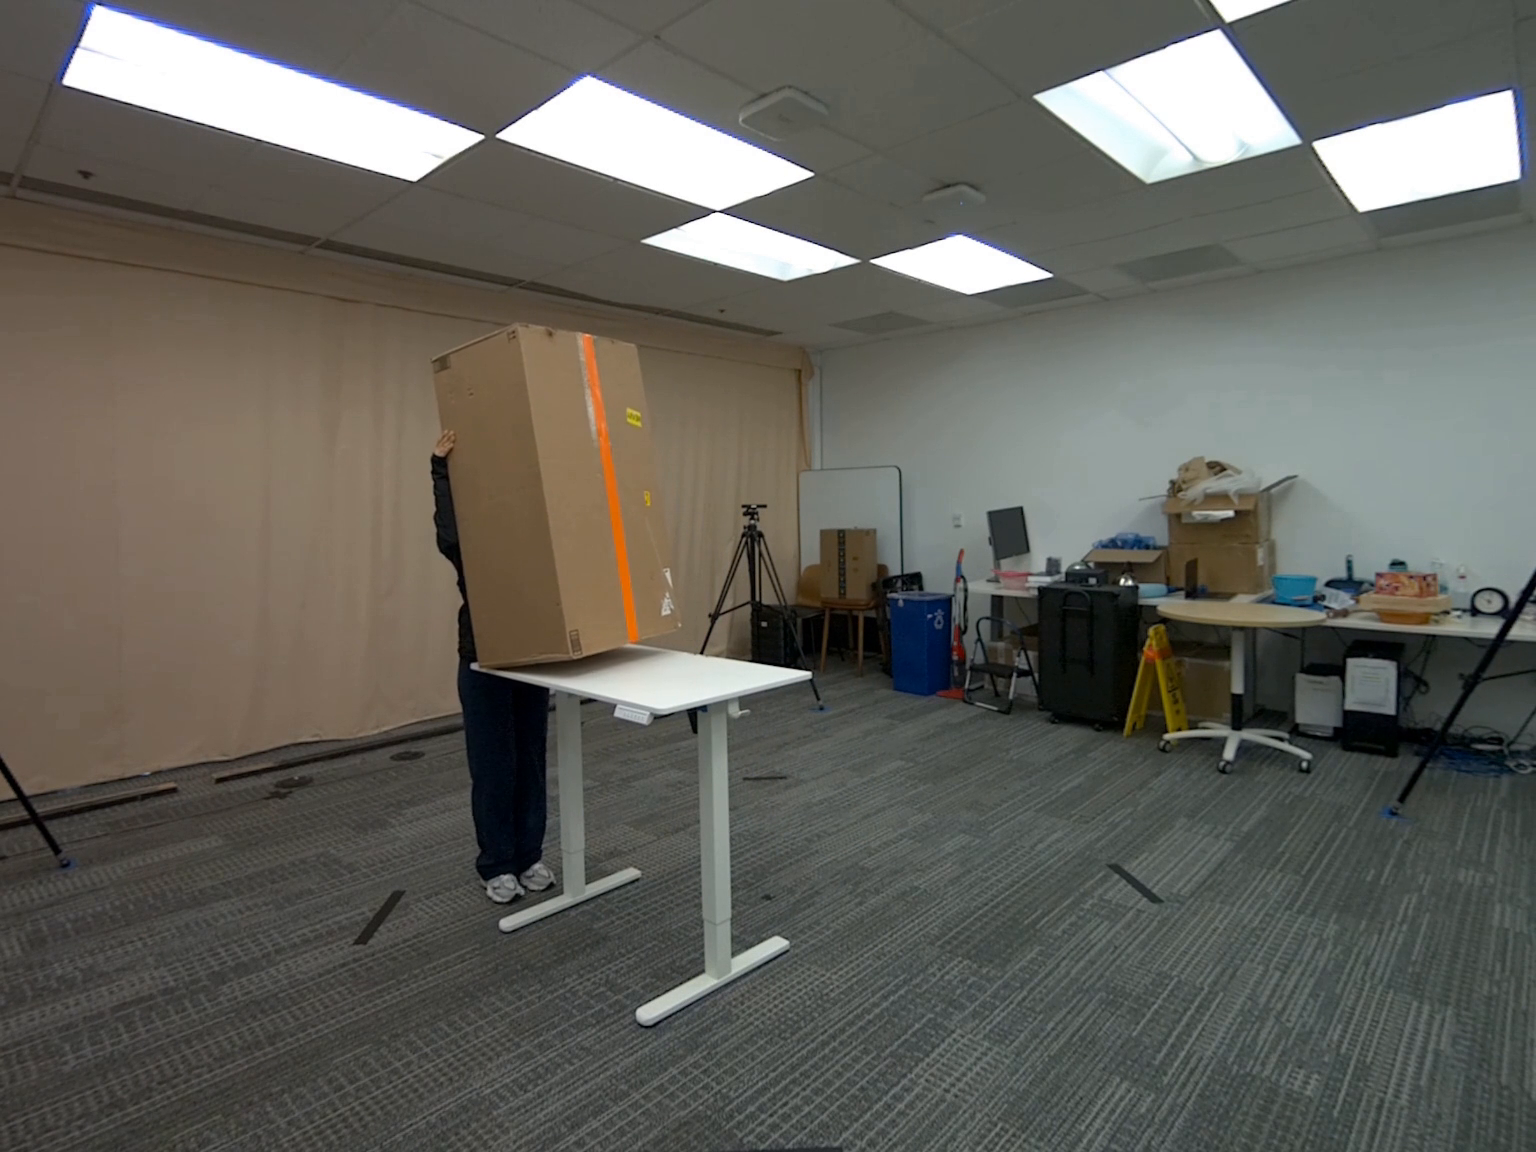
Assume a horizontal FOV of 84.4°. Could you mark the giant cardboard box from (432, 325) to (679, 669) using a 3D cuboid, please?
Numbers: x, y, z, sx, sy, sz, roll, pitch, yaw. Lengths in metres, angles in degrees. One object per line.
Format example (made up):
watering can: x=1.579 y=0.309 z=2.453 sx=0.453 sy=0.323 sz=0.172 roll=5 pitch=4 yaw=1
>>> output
giant cardboard box: x=-0.684 y=-0.257 z=2.854 sx=0.459 sy=1.027 sz=0.568 roll=-9 pitch=0 yaw=32
